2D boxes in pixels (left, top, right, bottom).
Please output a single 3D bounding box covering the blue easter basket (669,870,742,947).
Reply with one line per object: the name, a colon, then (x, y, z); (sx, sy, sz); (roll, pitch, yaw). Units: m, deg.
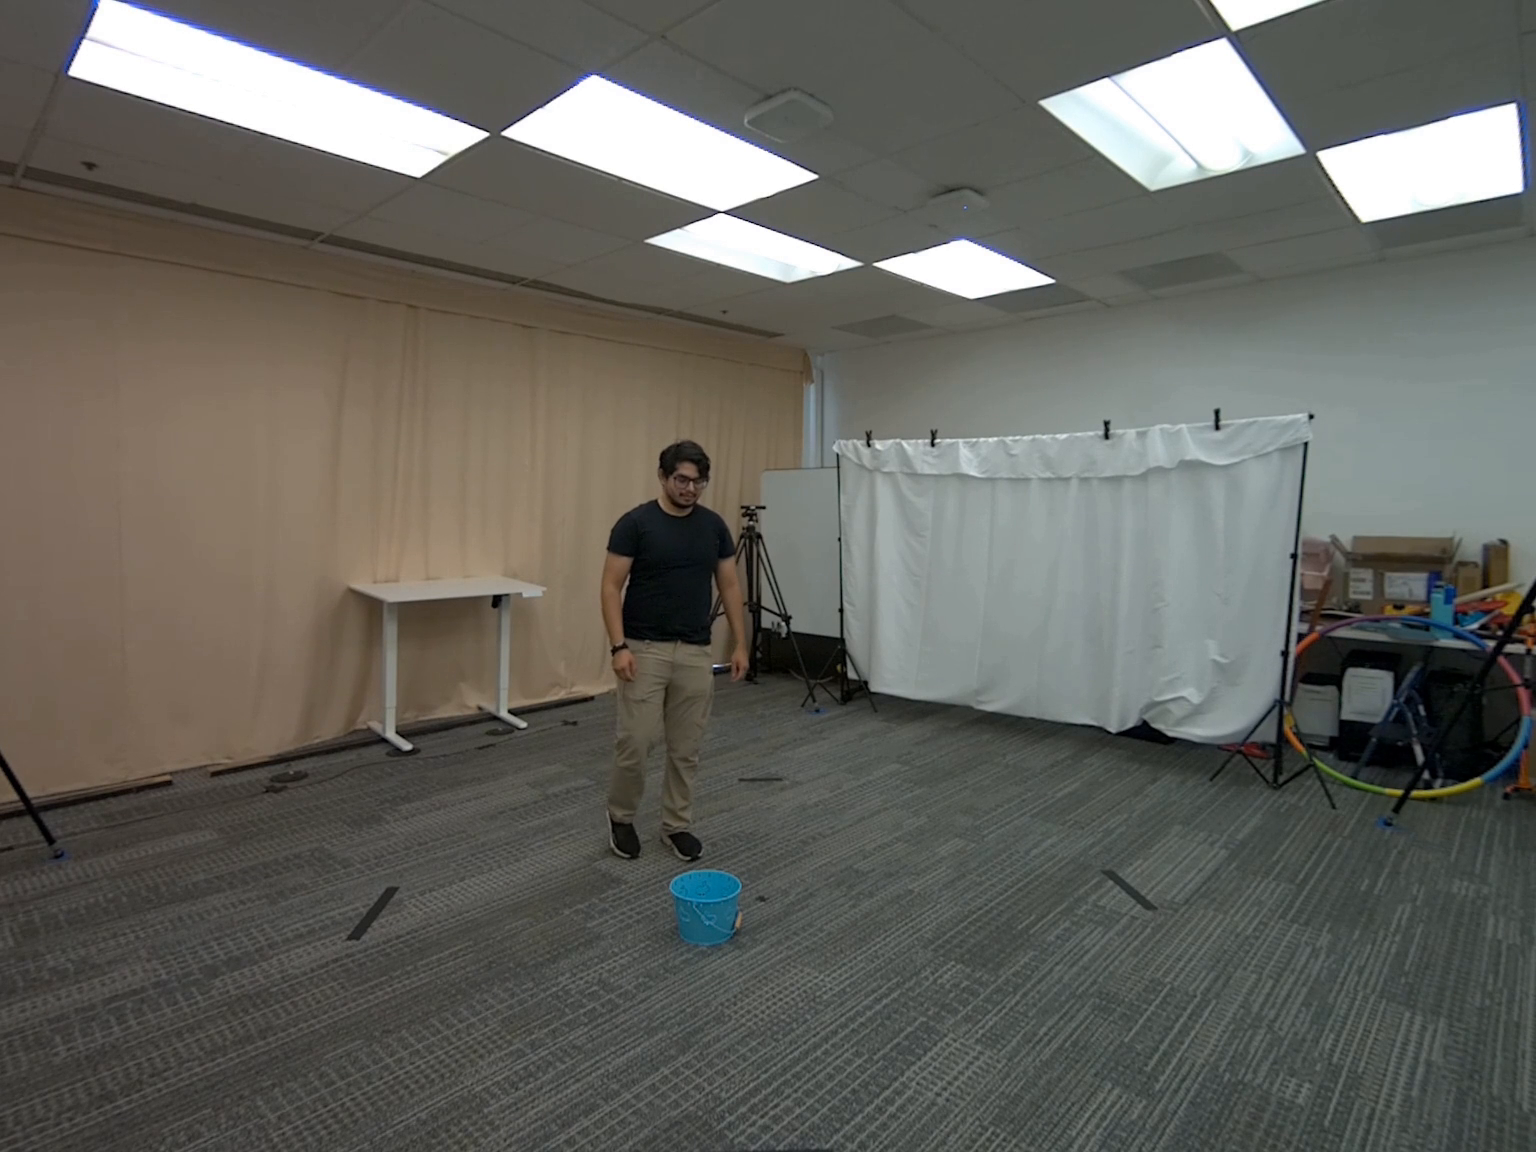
blue easter basket: (-0.199, 1.085, 2.755); (0.243, 0.155, 0.244); (0, 4, -2)
